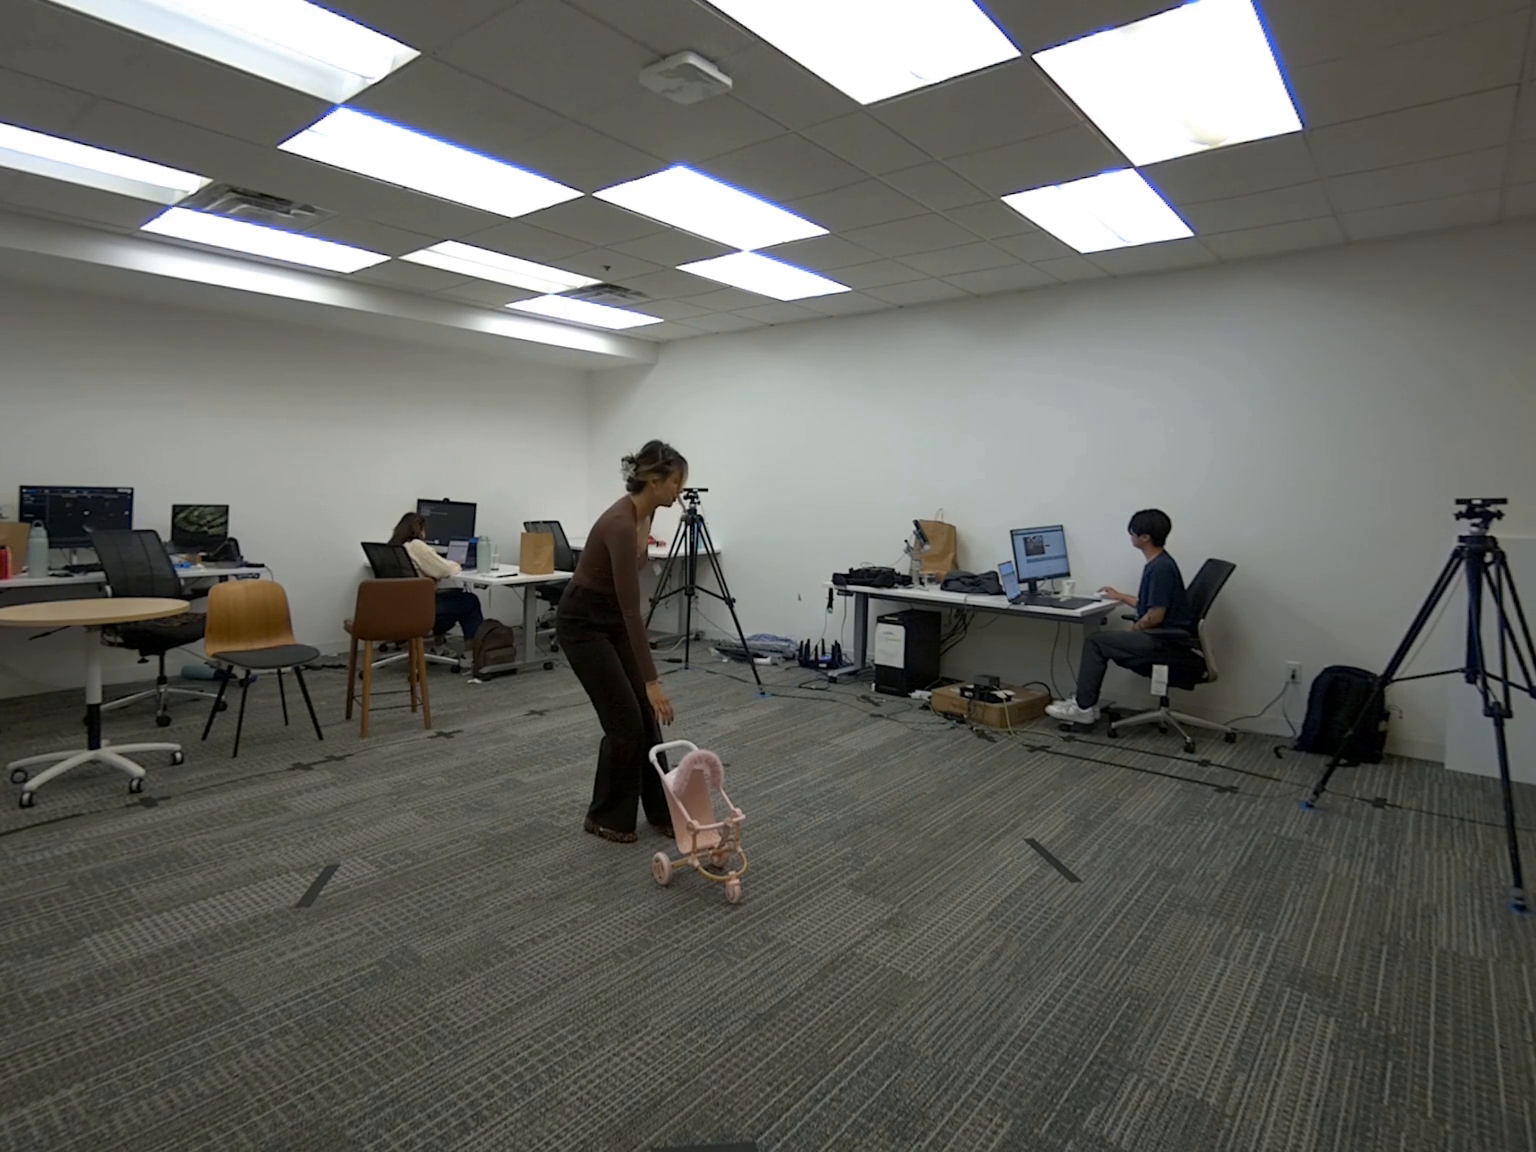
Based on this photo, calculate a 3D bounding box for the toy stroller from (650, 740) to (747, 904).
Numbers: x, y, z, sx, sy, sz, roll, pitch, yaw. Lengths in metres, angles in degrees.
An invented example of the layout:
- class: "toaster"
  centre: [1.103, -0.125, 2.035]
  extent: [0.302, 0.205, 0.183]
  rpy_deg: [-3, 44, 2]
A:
- class: "toy stroller"
  centre: [-0.242, 0.852, 2.996]
  extent: [0.273, 0.541, 0.348]
  rpy_deg: [-1, -11, -35]
